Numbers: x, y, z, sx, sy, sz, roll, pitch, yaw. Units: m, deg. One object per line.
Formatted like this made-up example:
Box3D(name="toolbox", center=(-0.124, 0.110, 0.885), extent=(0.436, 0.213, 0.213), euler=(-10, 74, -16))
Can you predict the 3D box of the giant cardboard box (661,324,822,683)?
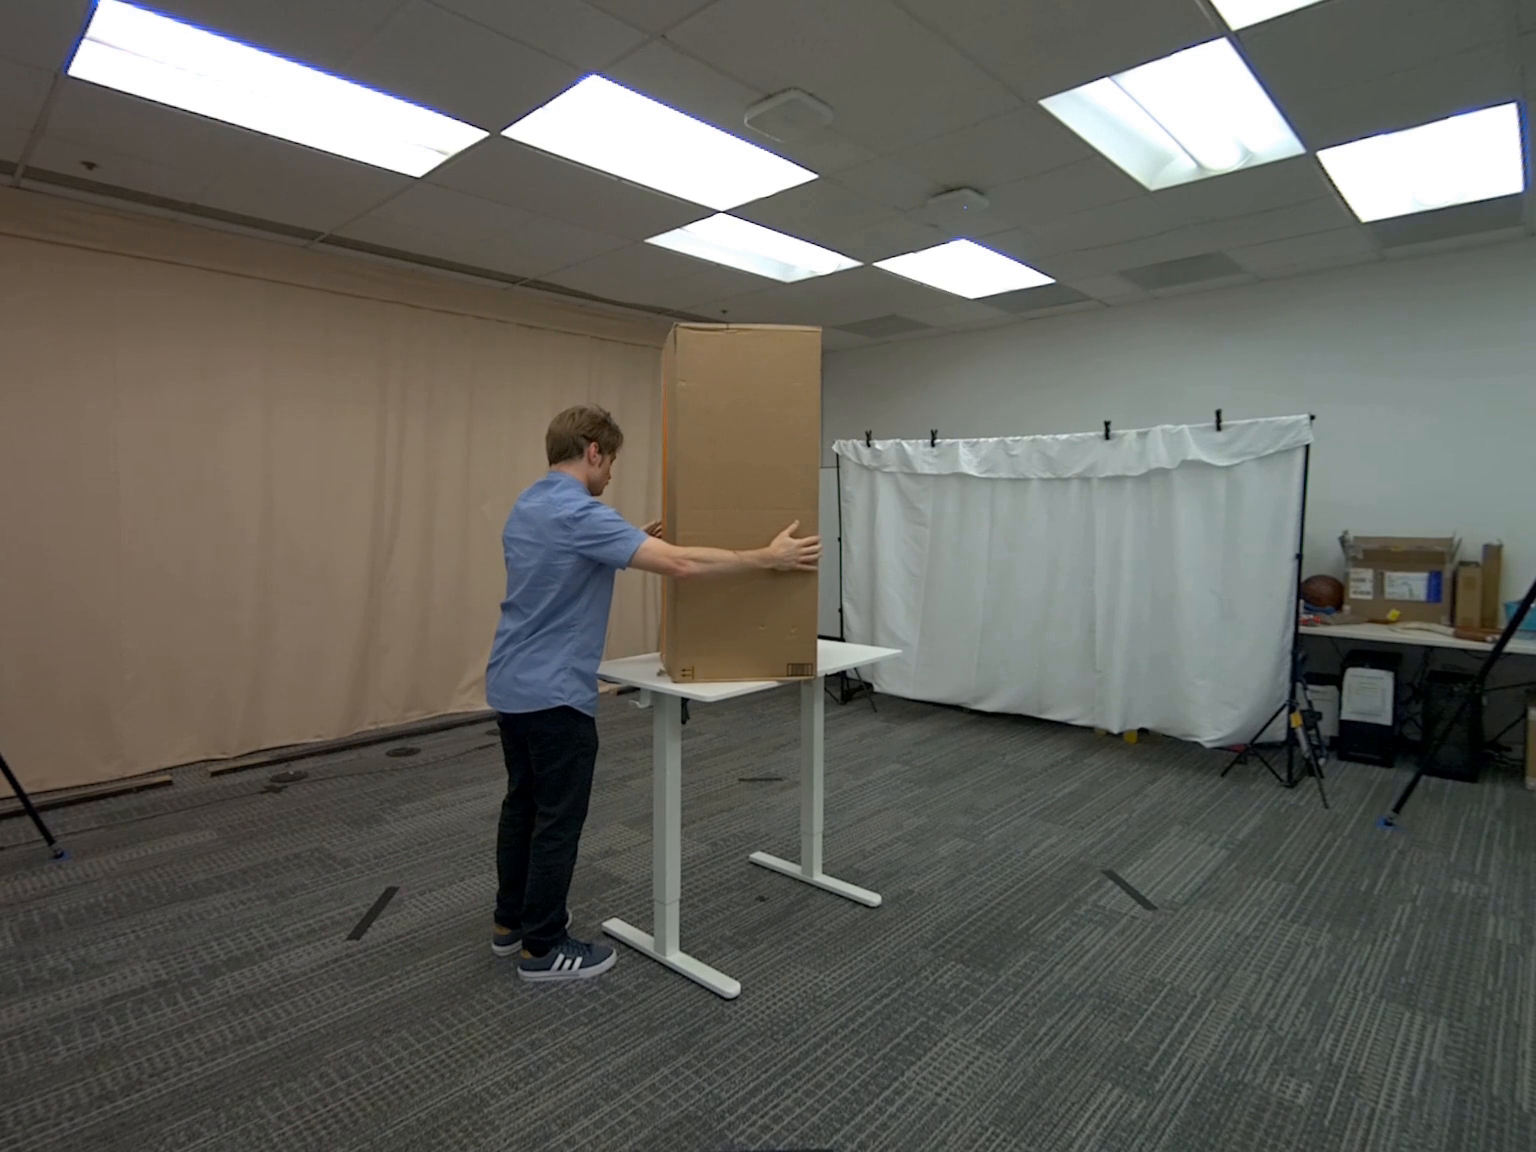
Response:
Box3D(name="giant cardboard box", center=(-0.107, -0.224, 2.684), extent=(0.422, 1.023, 0.584), euler=(0, 4, -9))
